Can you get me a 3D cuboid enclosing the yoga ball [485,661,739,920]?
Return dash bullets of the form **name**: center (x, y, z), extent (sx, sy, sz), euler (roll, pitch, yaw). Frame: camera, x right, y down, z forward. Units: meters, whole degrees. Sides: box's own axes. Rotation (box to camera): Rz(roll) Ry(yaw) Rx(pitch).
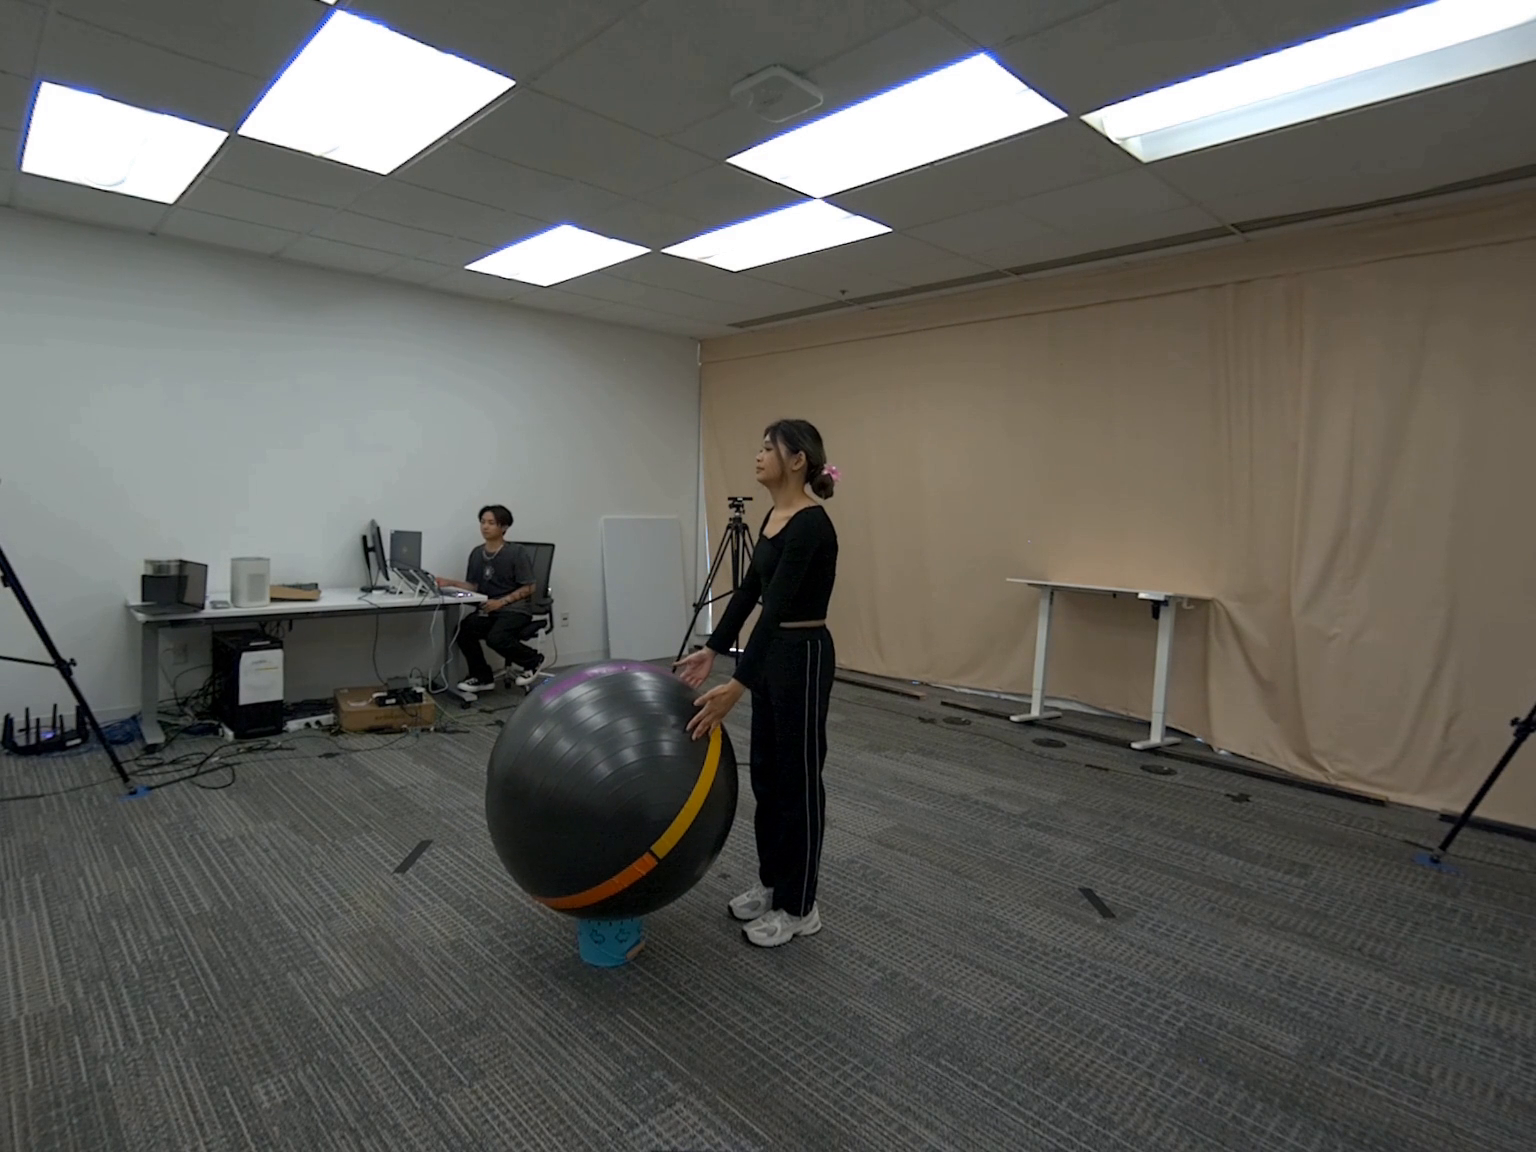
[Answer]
- **yoga ball**: center (-0.478, 0.638, 2.553), extent (0.757, 0.756, 0.761), euler (1, 4, -1)
